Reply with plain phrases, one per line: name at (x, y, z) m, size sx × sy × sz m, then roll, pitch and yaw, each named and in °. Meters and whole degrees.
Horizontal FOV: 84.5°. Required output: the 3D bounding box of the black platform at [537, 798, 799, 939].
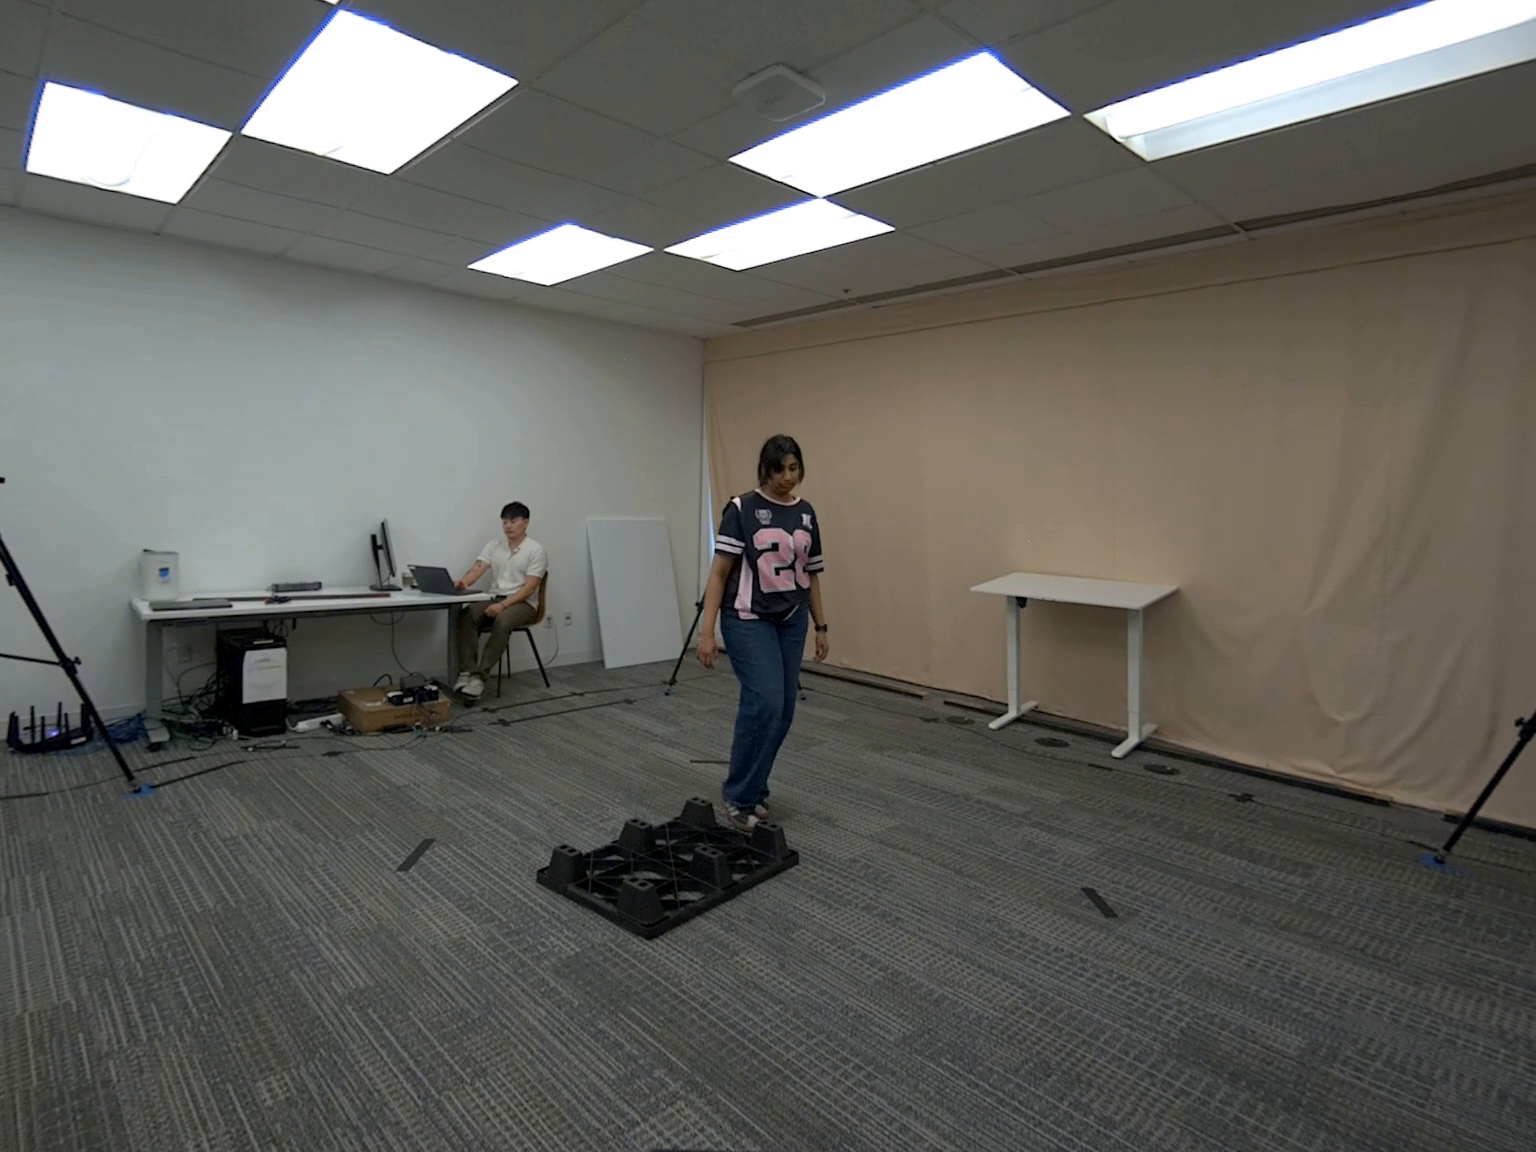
black platform at (-0.362, 1.033, 3.121) m, size 0.620 × 0.143 × 0.788 m, roll 6°, pitch 7°, yaw 39°
